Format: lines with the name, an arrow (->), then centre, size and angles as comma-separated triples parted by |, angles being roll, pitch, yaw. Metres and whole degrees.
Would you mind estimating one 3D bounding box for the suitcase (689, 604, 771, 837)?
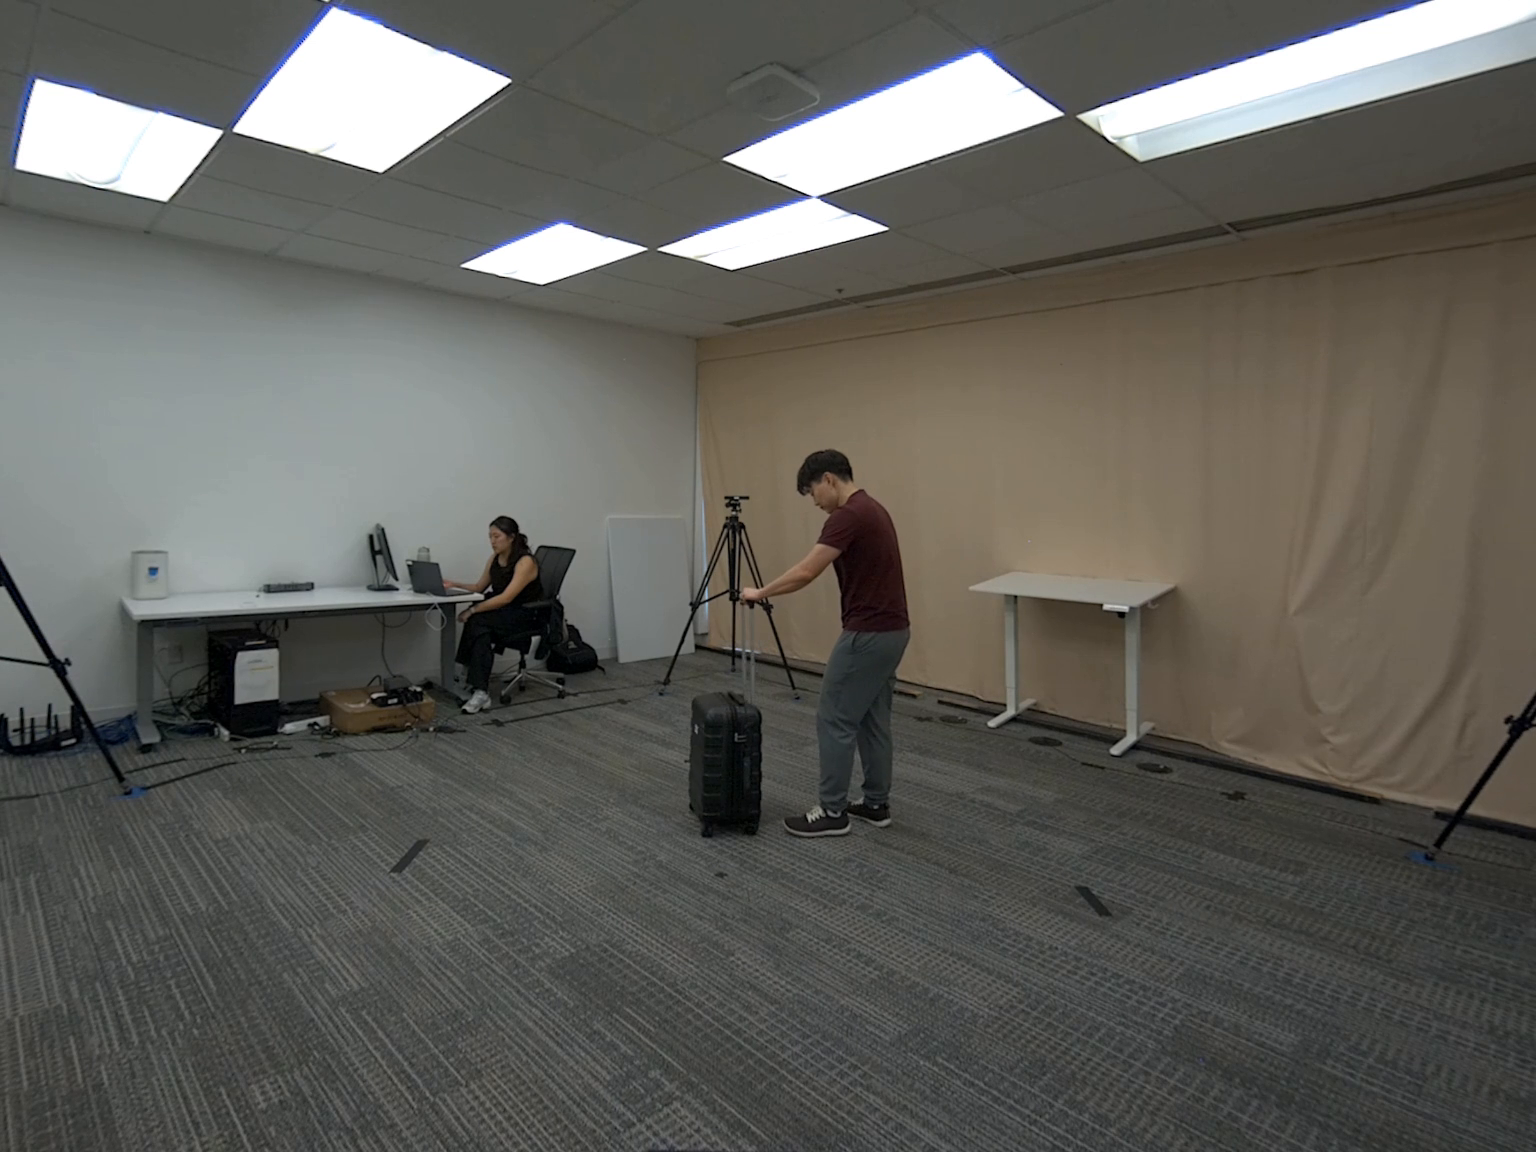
suitcase -> -0.191, 0.584, 3.590 | 0.255, 0.977, 0.388 | -1, 2, -13
